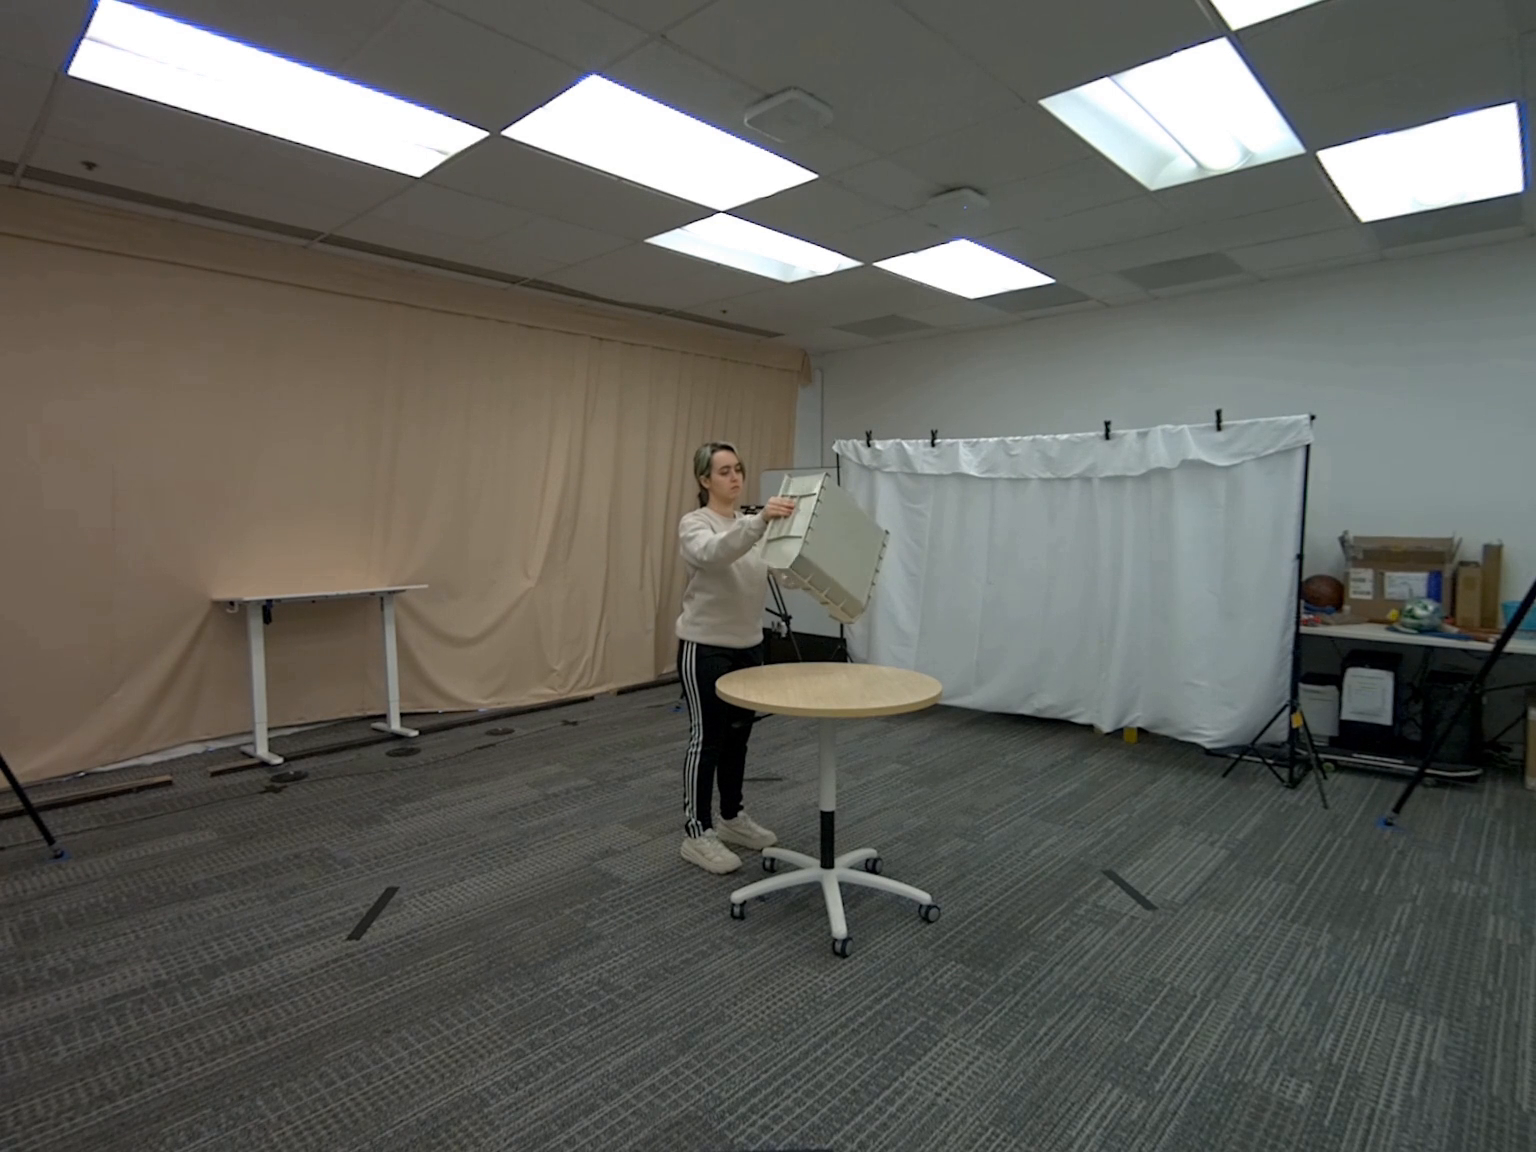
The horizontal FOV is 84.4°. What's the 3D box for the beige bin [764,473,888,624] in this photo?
[{"bbox_3d":[0.203,-0.091,2.907,0.195,0.379,0.407,-3,-31,44],"label":"beige bin"}]
